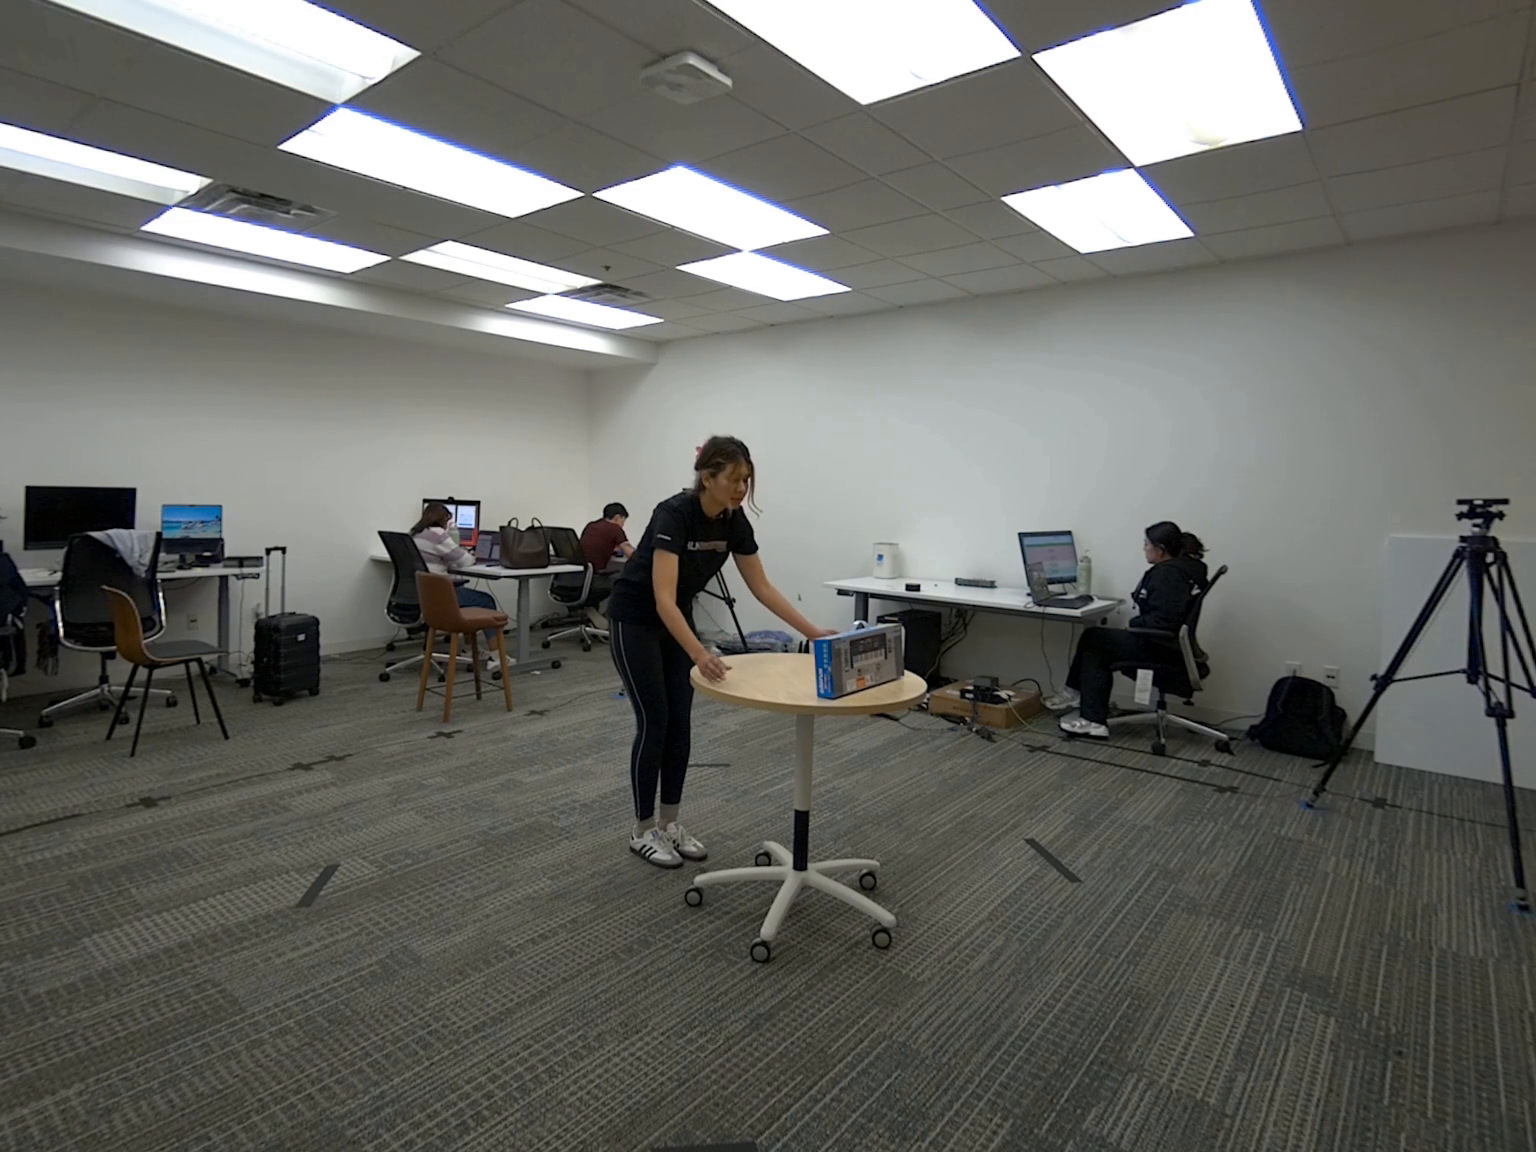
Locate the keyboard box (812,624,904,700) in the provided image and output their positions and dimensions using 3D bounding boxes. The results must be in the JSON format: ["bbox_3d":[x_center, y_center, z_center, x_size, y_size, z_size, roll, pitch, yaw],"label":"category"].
[{"bbox_3d":[0.285,0.257,2.652,0.061,0.176,0.424,-3,1,38],"label":"keyboard box"}]
